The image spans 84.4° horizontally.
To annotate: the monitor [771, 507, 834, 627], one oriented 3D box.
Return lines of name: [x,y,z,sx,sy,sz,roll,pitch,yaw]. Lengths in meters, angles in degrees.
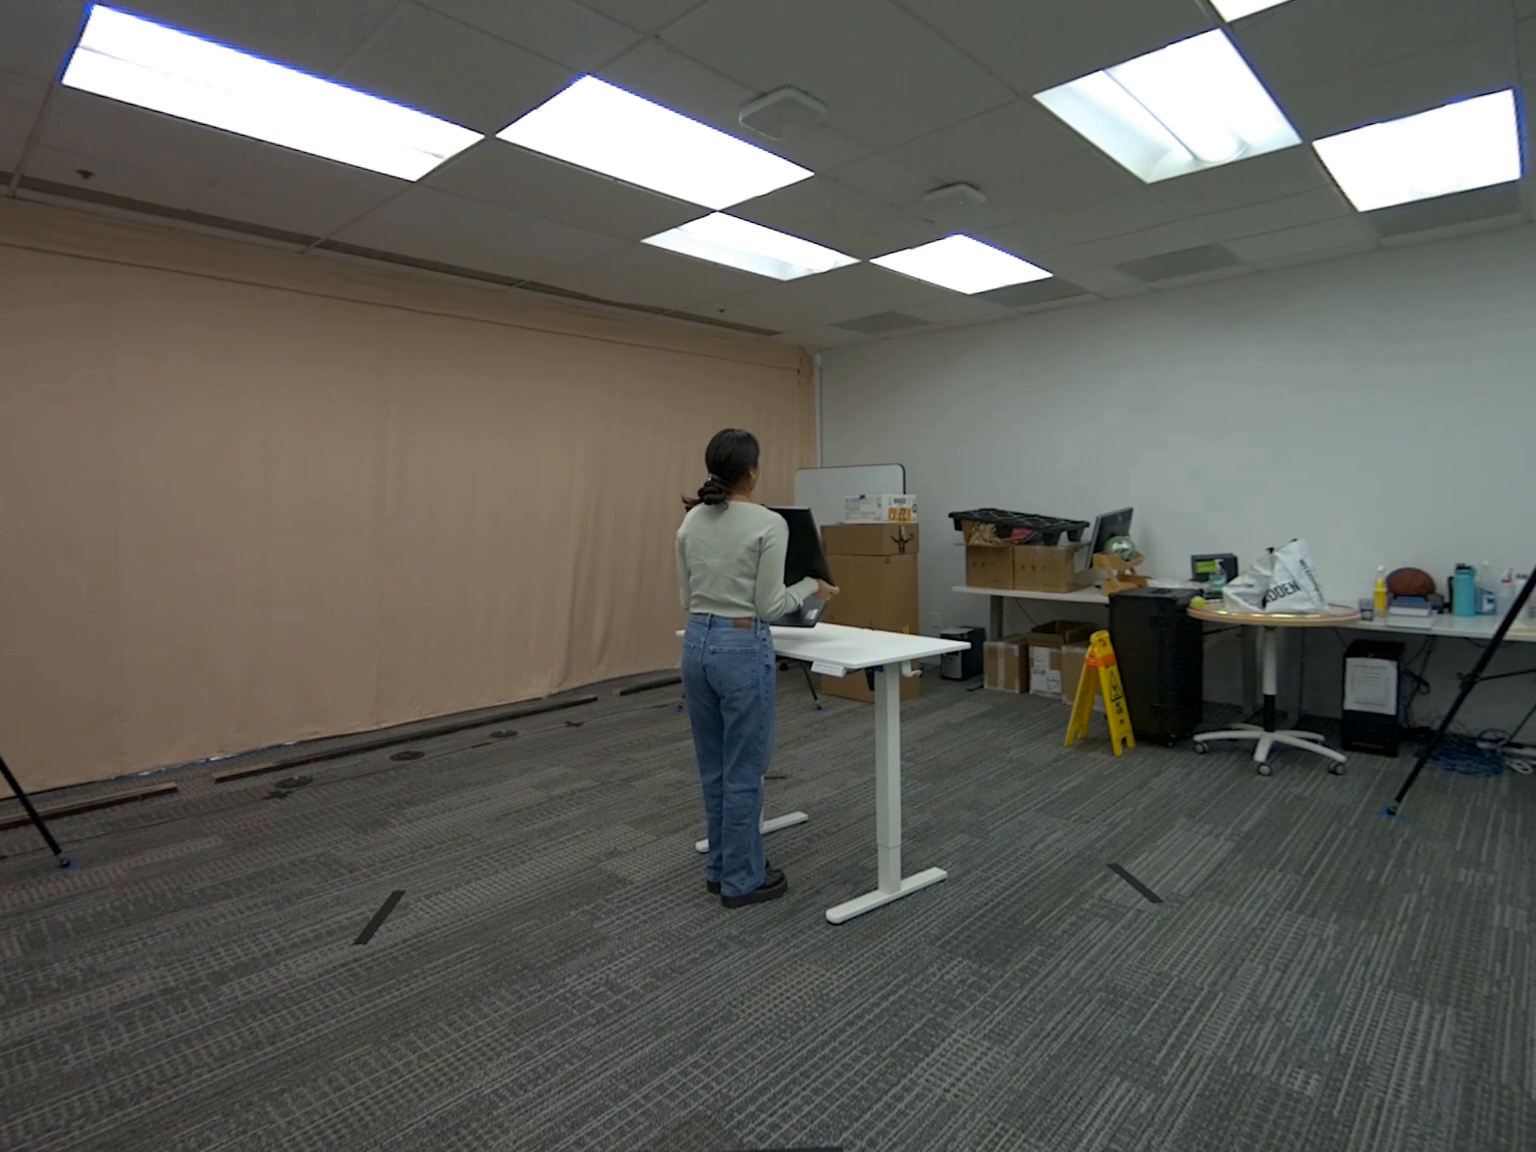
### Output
monitor: [0.002,-0.053,3.090,0.556,0.507,0.186,4,45,37]
